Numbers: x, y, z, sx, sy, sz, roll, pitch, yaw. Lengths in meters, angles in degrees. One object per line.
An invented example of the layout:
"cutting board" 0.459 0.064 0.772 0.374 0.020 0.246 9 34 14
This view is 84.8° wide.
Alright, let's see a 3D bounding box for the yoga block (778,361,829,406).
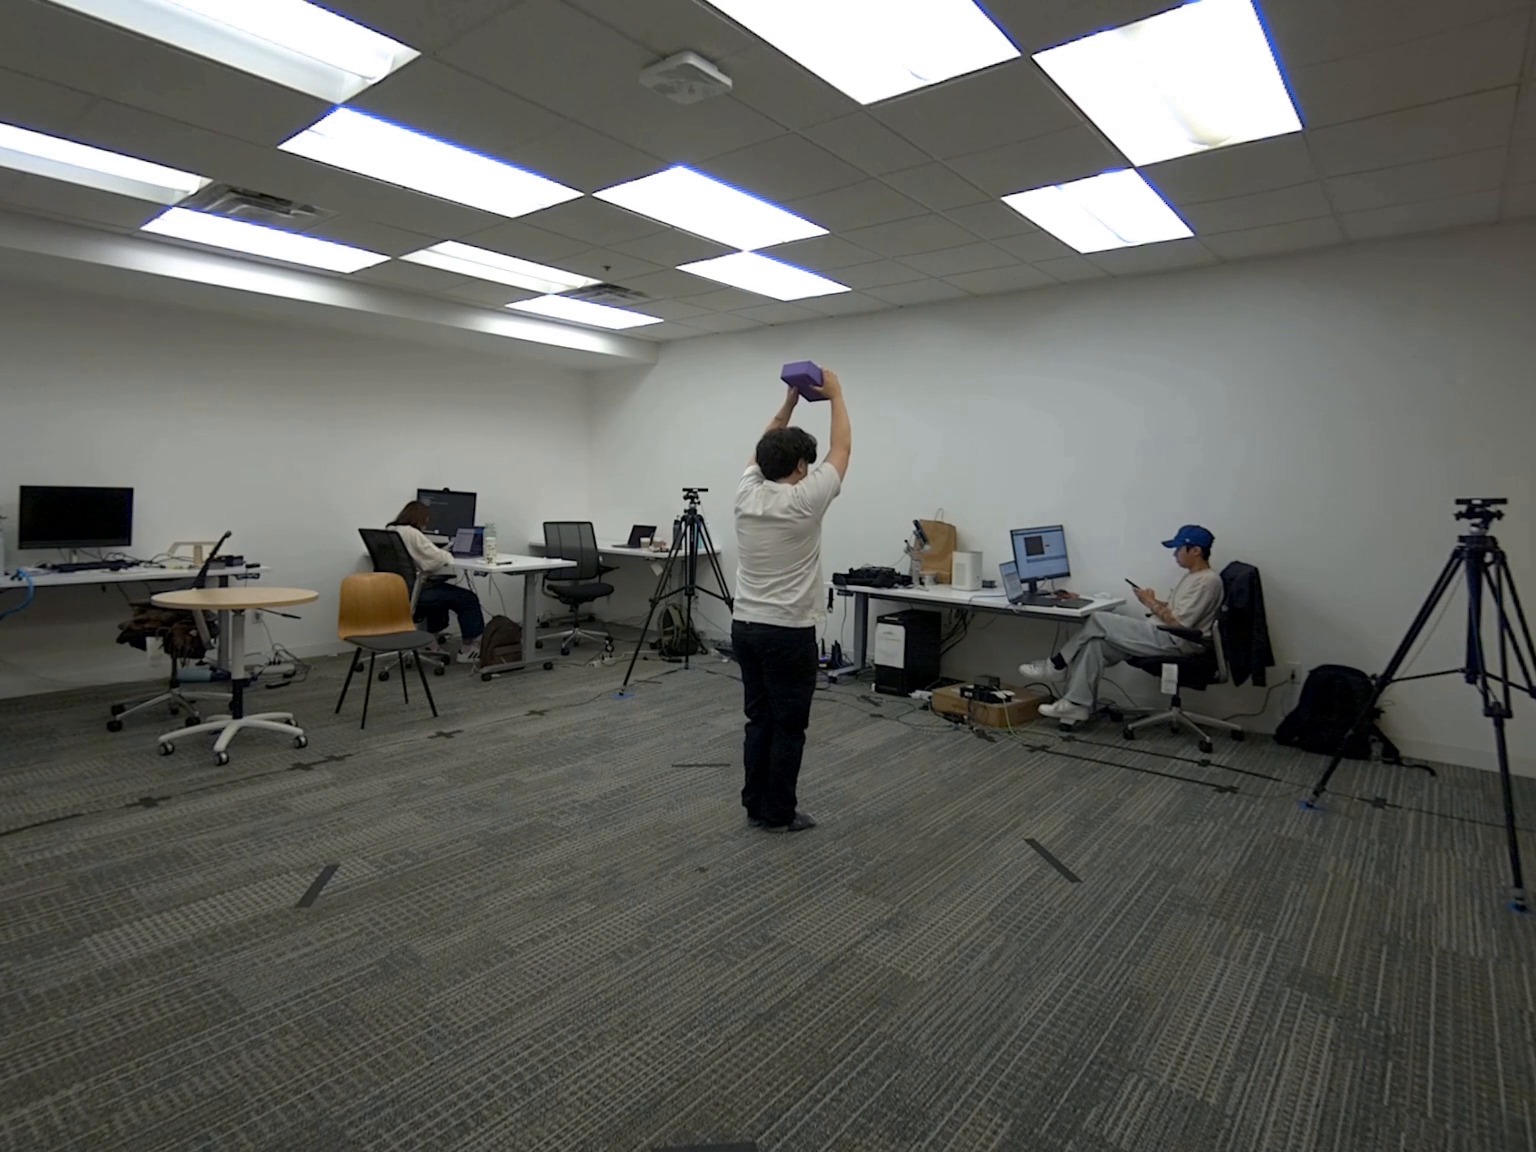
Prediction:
"yoga block" 0.174 -0.833 3.638 0.154 0.077 0.220 3 -17 40
